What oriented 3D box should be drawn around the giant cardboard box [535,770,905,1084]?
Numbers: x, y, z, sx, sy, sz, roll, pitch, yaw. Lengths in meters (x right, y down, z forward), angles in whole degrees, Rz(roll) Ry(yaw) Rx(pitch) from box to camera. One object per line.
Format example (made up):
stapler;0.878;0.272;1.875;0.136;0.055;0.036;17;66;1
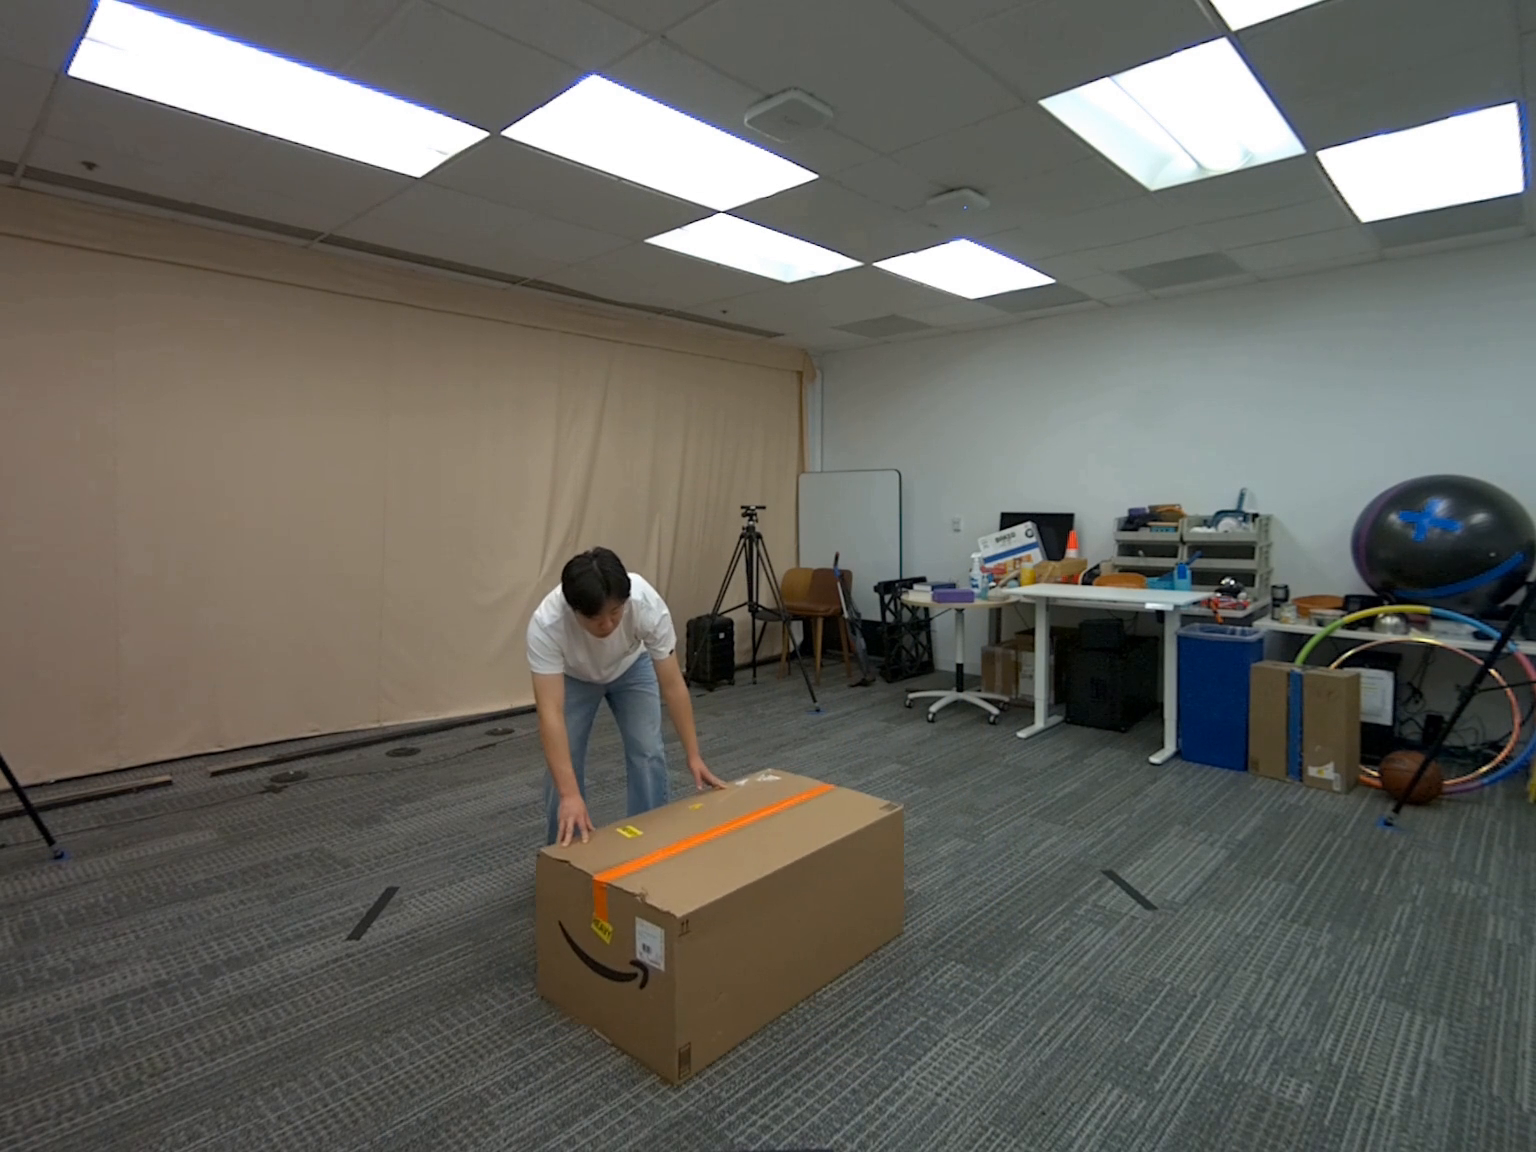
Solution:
giant cardboard box;-0.098;0.966;2.551;0.596;0.425;0.995;3;5;43
